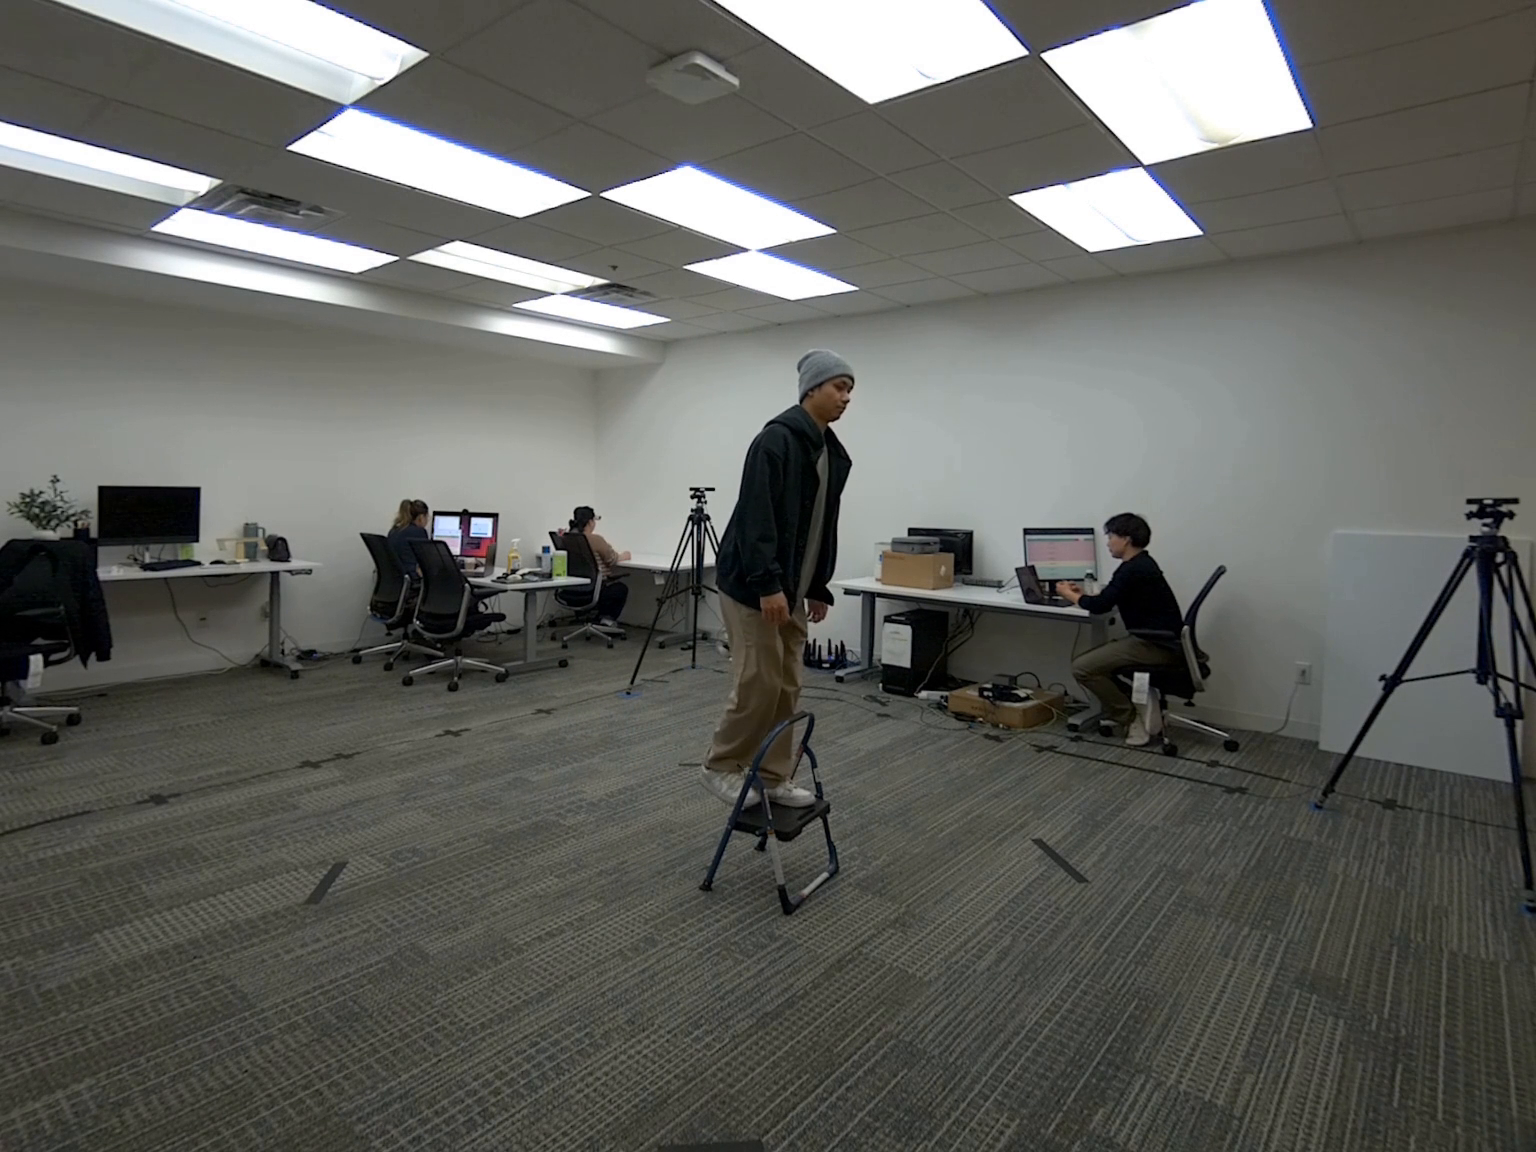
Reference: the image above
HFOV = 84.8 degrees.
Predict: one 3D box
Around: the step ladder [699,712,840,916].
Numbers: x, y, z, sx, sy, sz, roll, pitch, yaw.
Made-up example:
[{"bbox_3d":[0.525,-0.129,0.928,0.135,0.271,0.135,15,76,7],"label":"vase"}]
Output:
[{"bbox_3d":[0.016,0.778,3.015,0.359,0.604,0.420,4,4,29],"label":"step ladder"}]
